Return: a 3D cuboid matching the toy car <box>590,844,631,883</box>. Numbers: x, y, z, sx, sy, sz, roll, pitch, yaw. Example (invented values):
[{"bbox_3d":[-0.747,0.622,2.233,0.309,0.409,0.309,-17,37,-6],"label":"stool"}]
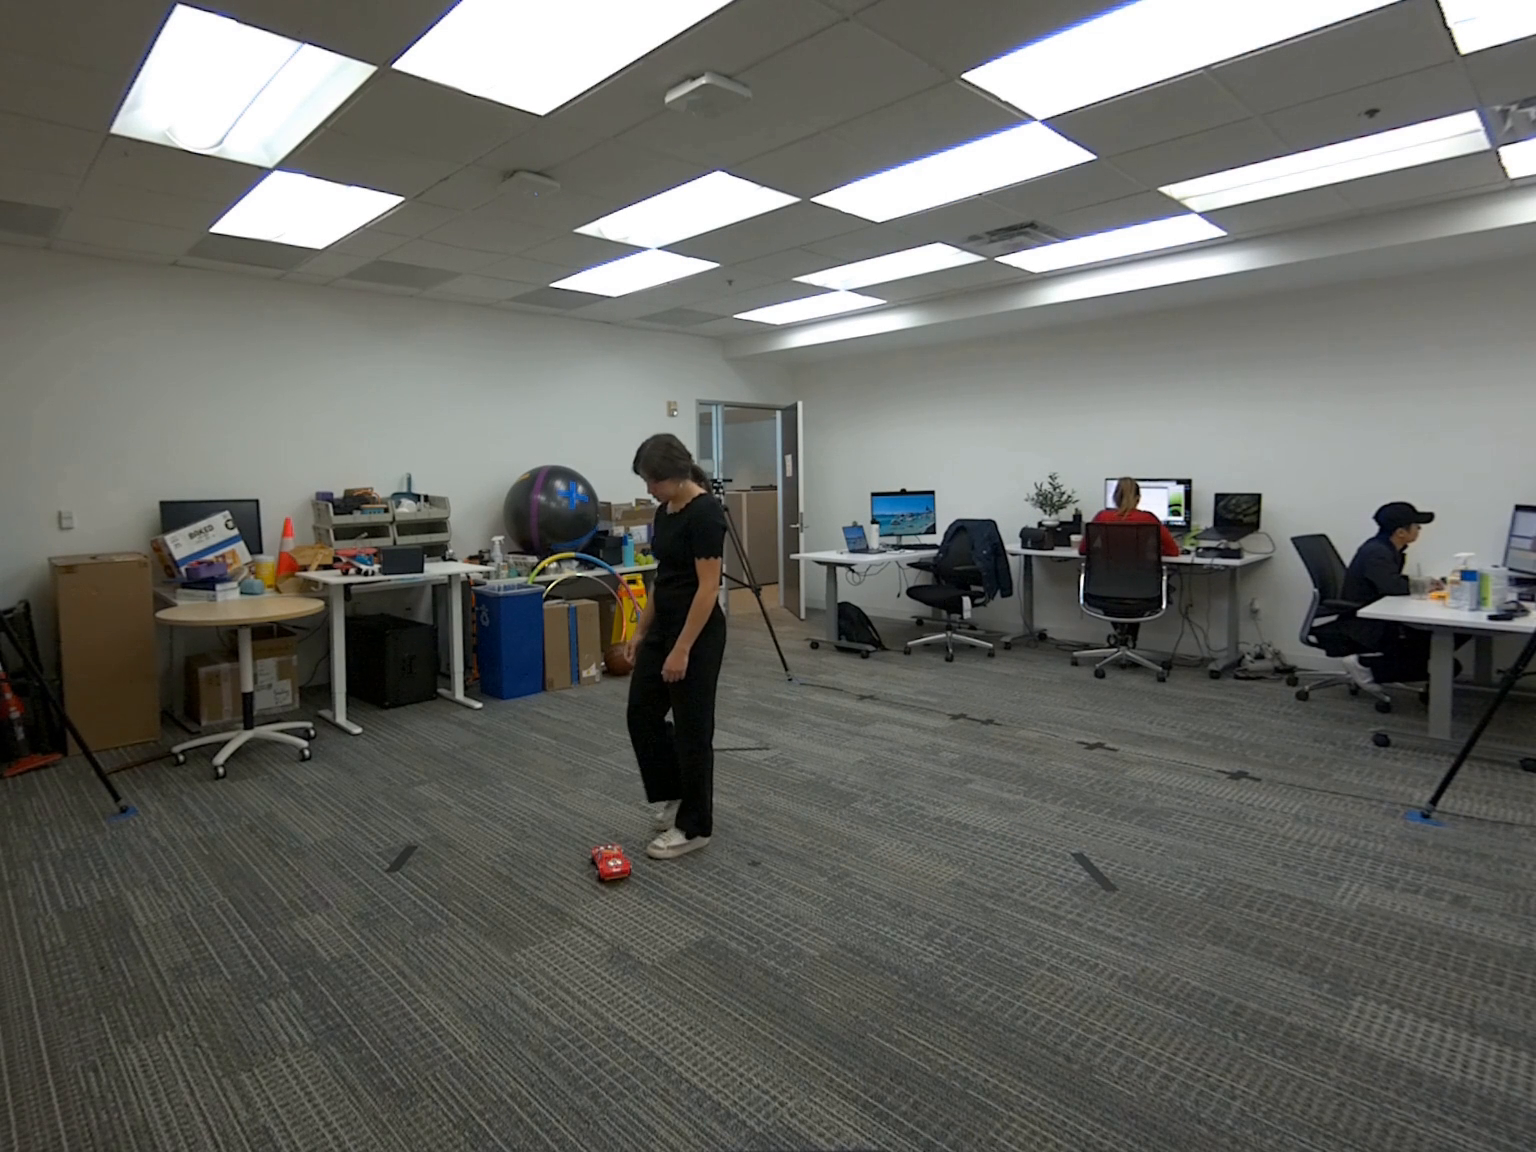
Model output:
[{"bbox_3d":[-0.565,1.028,3.054,0.128,0.084,0.257,-3,-5,-20],"label":"toy car"}]
